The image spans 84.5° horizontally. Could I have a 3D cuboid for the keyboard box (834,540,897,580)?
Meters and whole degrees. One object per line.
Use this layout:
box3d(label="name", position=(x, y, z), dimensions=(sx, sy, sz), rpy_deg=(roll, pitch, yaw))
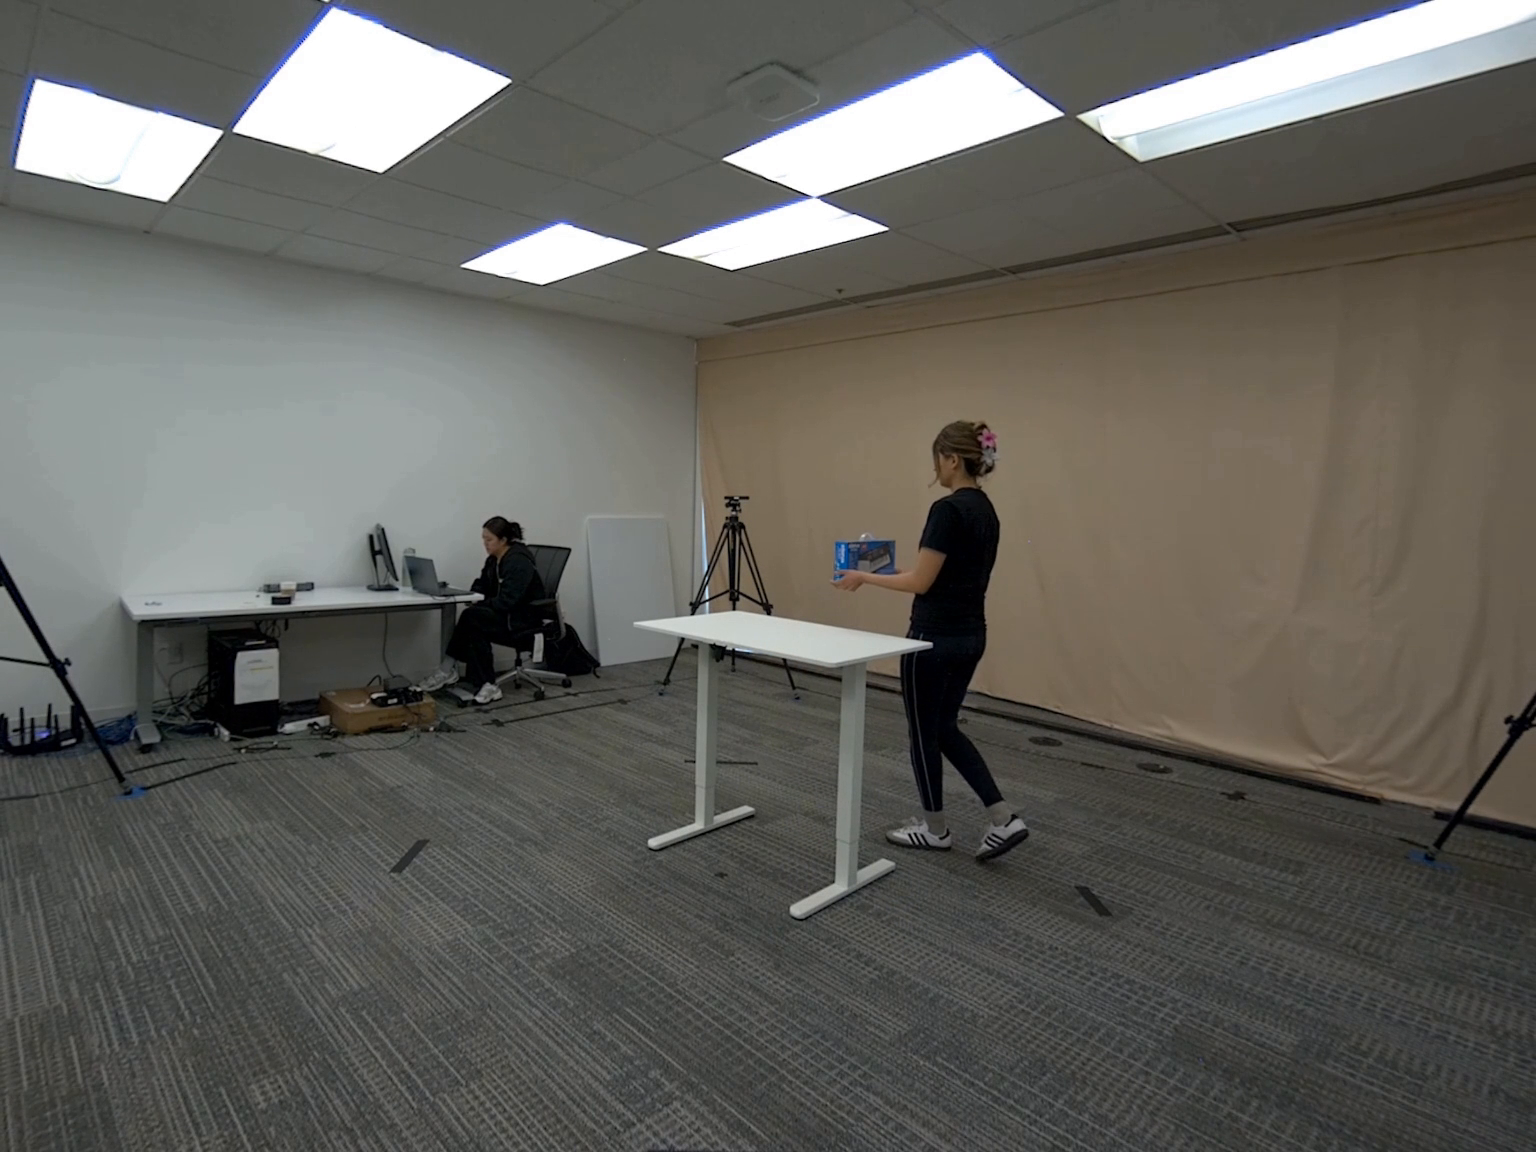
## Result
box3d(label="keyboard box", position=(0.414, -0.061, 3.568), dimensions=(0.060, 0.175, 0.427), rpy_deg=(2, 4, 35))
